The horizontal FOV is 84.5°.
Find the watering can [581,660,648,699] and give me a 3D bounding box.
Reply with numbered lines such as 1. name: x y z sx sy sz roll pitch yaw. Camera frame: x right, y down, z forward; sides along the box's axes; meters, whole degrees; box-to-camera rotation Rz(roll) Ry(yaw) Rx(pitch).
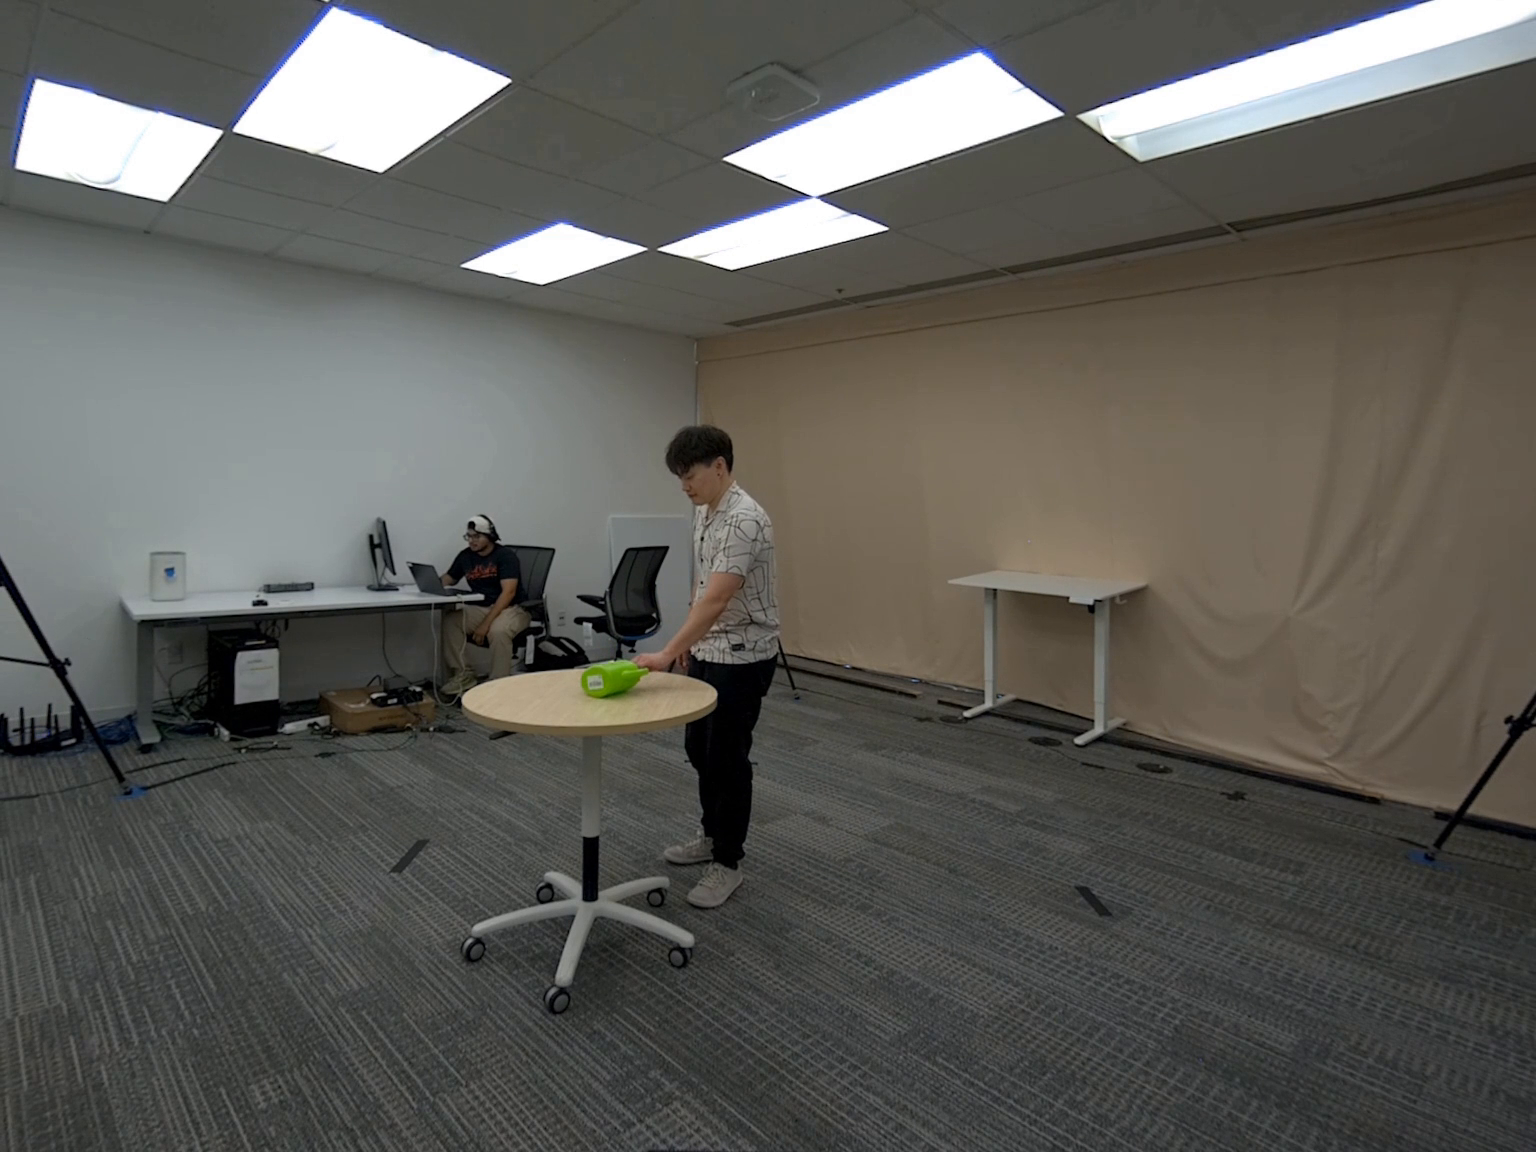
1. watering can: -0.507 0.329 2.602 0.281 0.099 0.173 -25 -11 32
